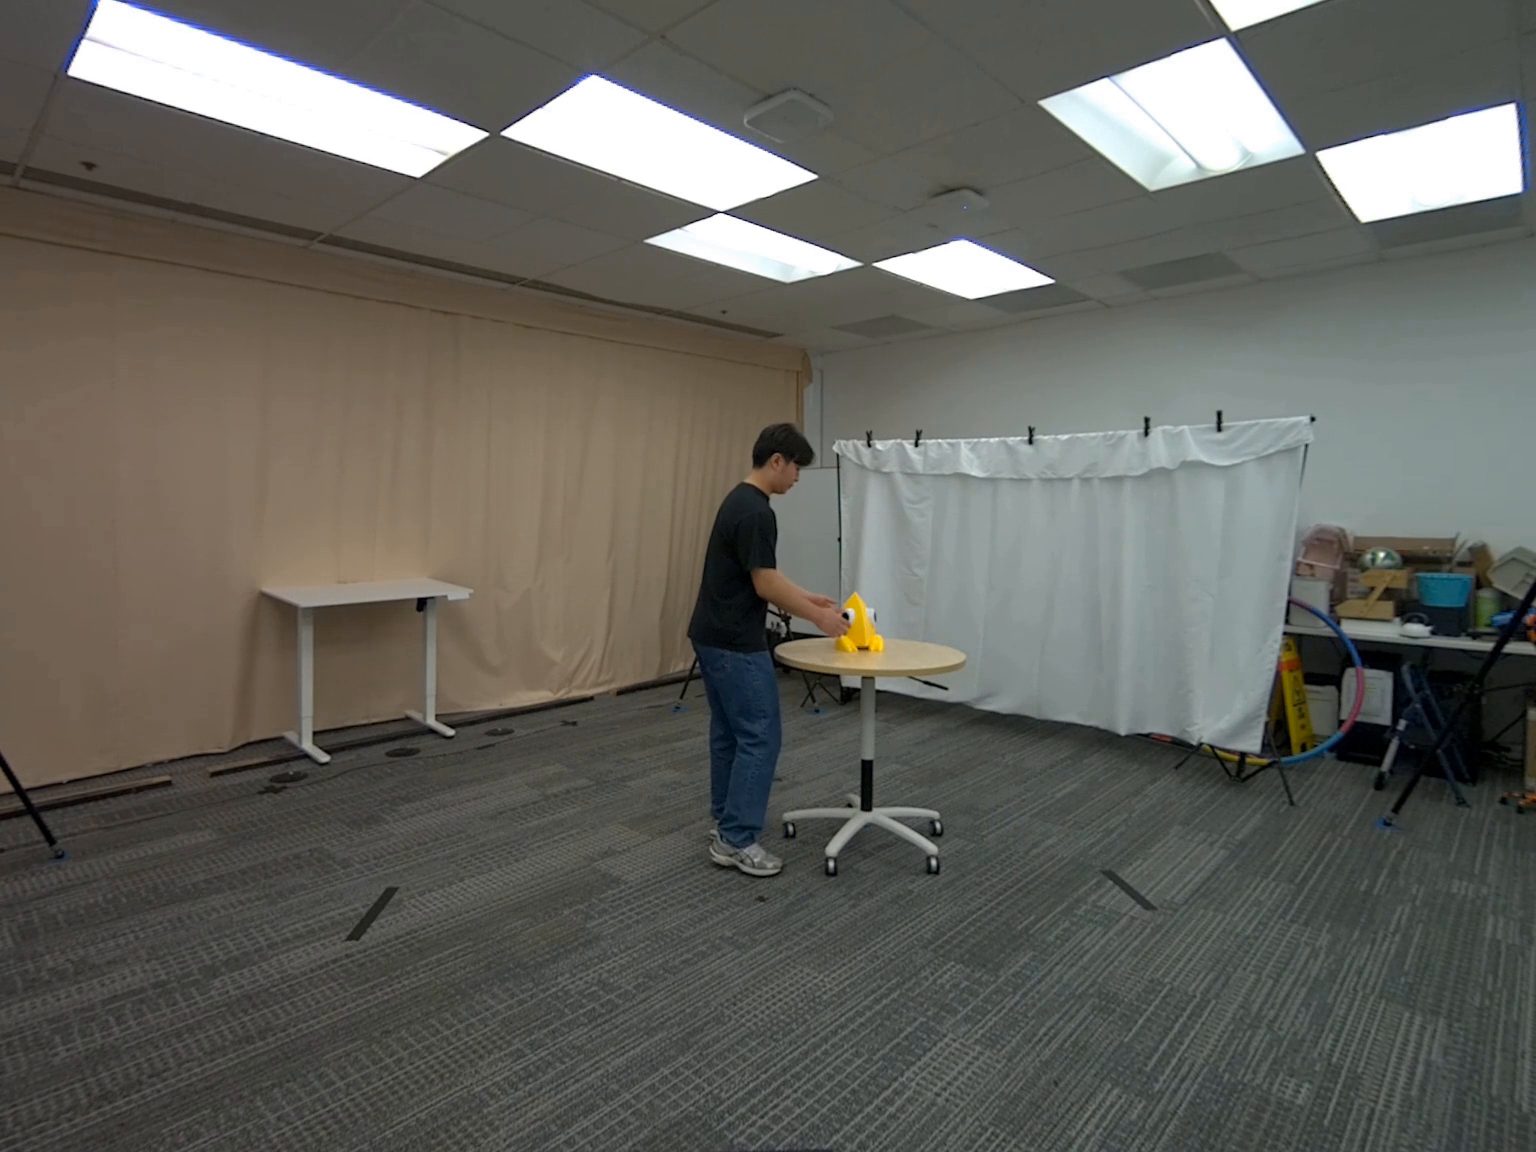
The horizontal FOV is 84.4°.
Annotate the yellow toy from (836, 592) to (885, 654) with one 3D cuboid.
[{"bbox_3d":[0.386,0.188,3.513,0.203,0.230,0.195,-1,2,-10],"label":"yellow toy"}]
